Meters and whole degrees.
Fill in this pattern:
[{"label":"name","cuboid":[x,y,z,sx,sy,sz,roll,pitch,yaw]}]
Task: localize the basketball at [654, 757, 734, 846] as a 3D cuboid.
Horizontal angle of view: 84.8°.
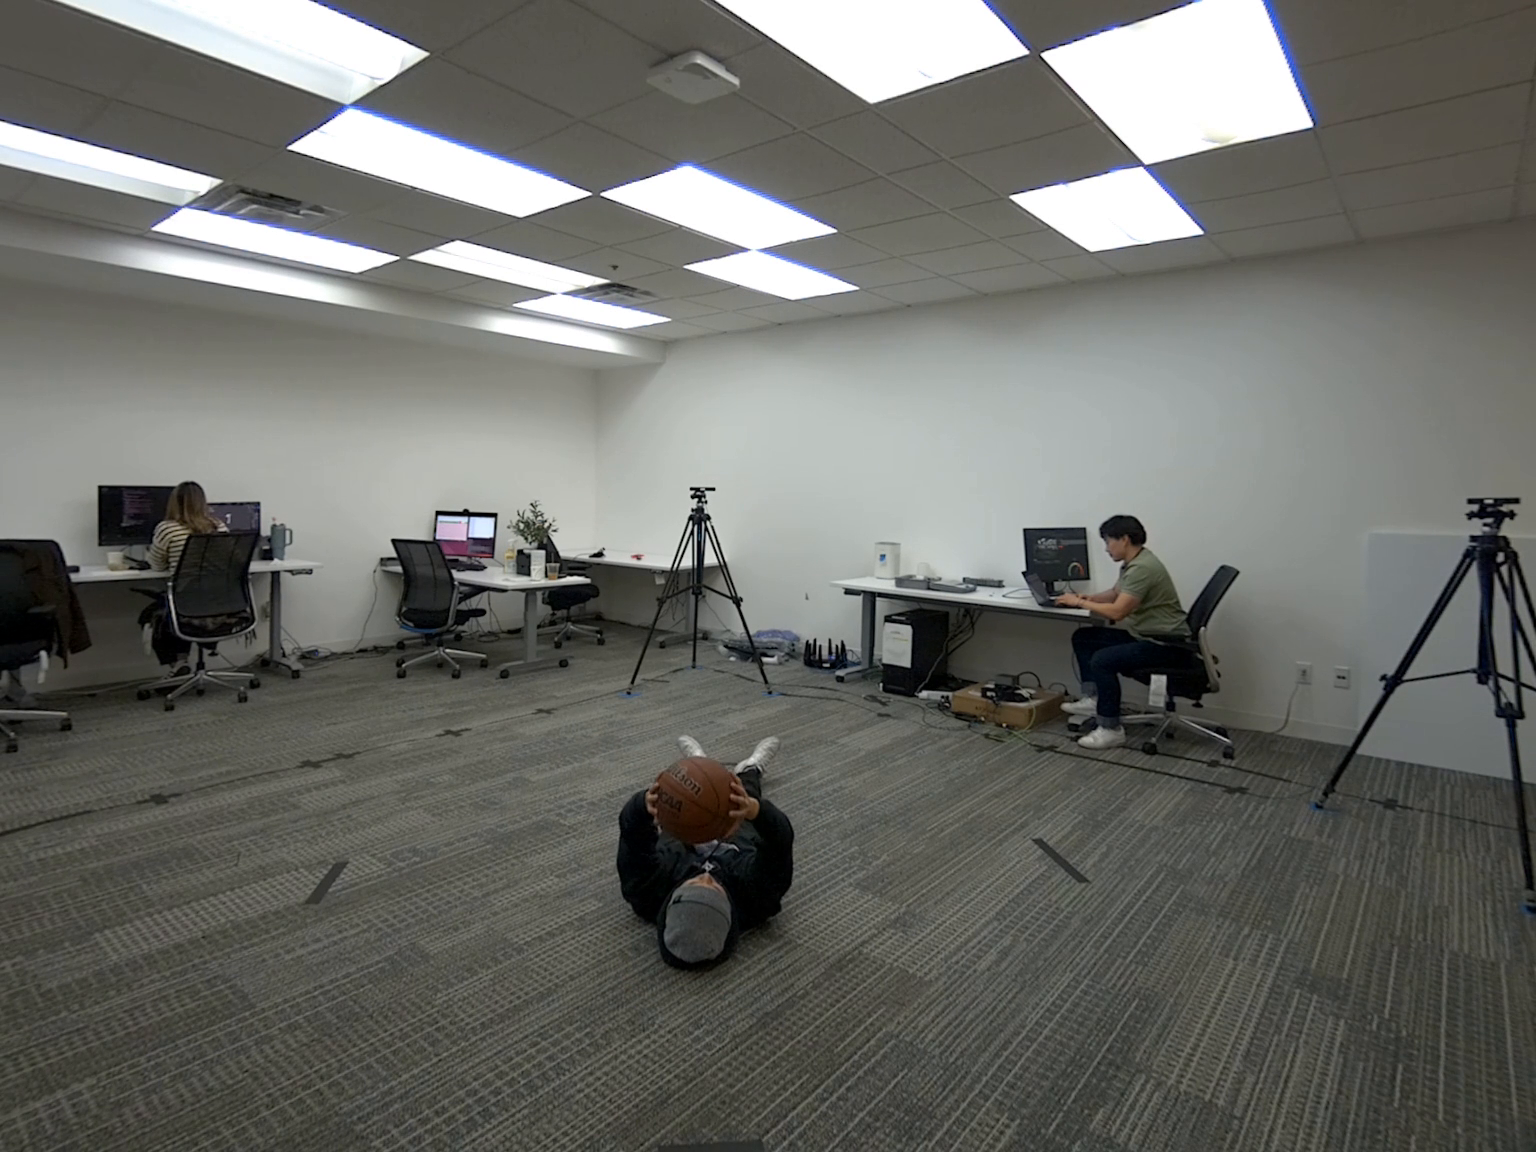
[{"label":"basketball","cuboid":[-0.208,0.629,2.404,0.235,0.235,0.237,1,4,-2]}]
